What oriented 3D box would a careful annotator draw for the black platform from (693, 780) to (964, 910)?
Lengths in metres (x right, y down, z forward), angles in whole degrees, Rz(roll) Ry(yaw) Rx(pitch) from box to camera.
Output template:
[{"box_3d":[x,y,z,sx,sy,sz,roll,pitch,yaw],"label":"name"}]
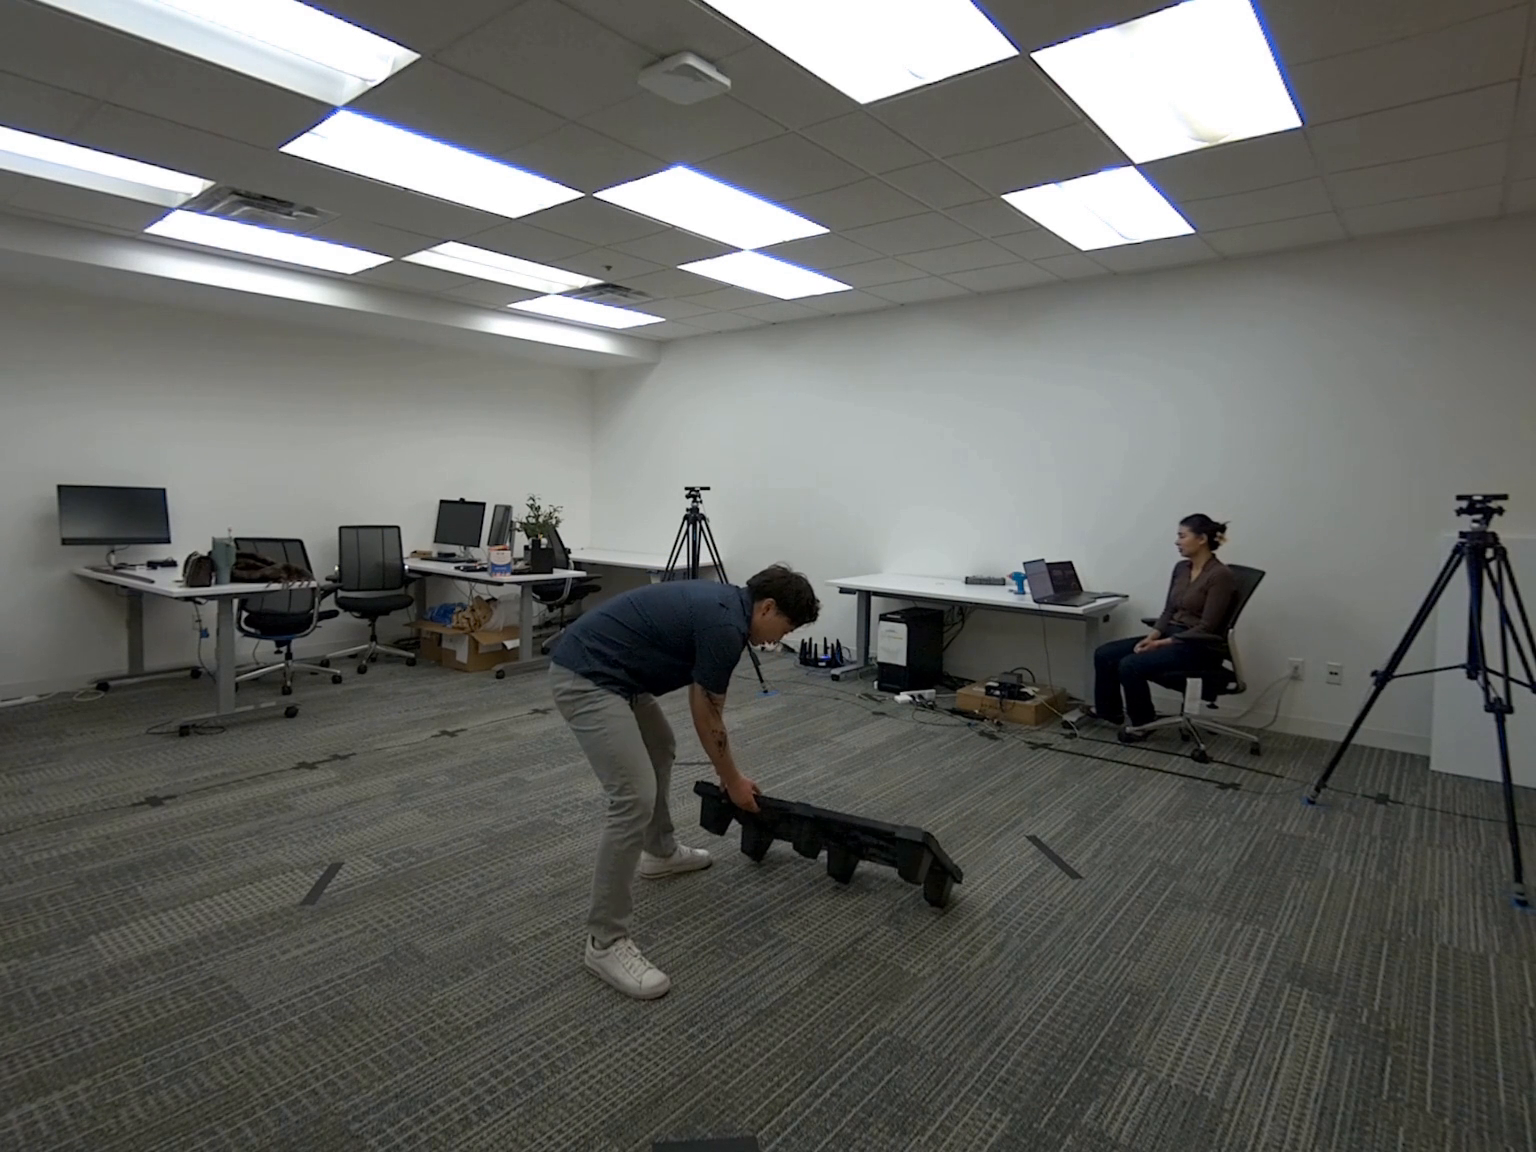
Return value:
[{"box_3d":[0.194,0.915,2.870,0.828,0.145,0.580,5,-28,27],"label":"black platform"}]
